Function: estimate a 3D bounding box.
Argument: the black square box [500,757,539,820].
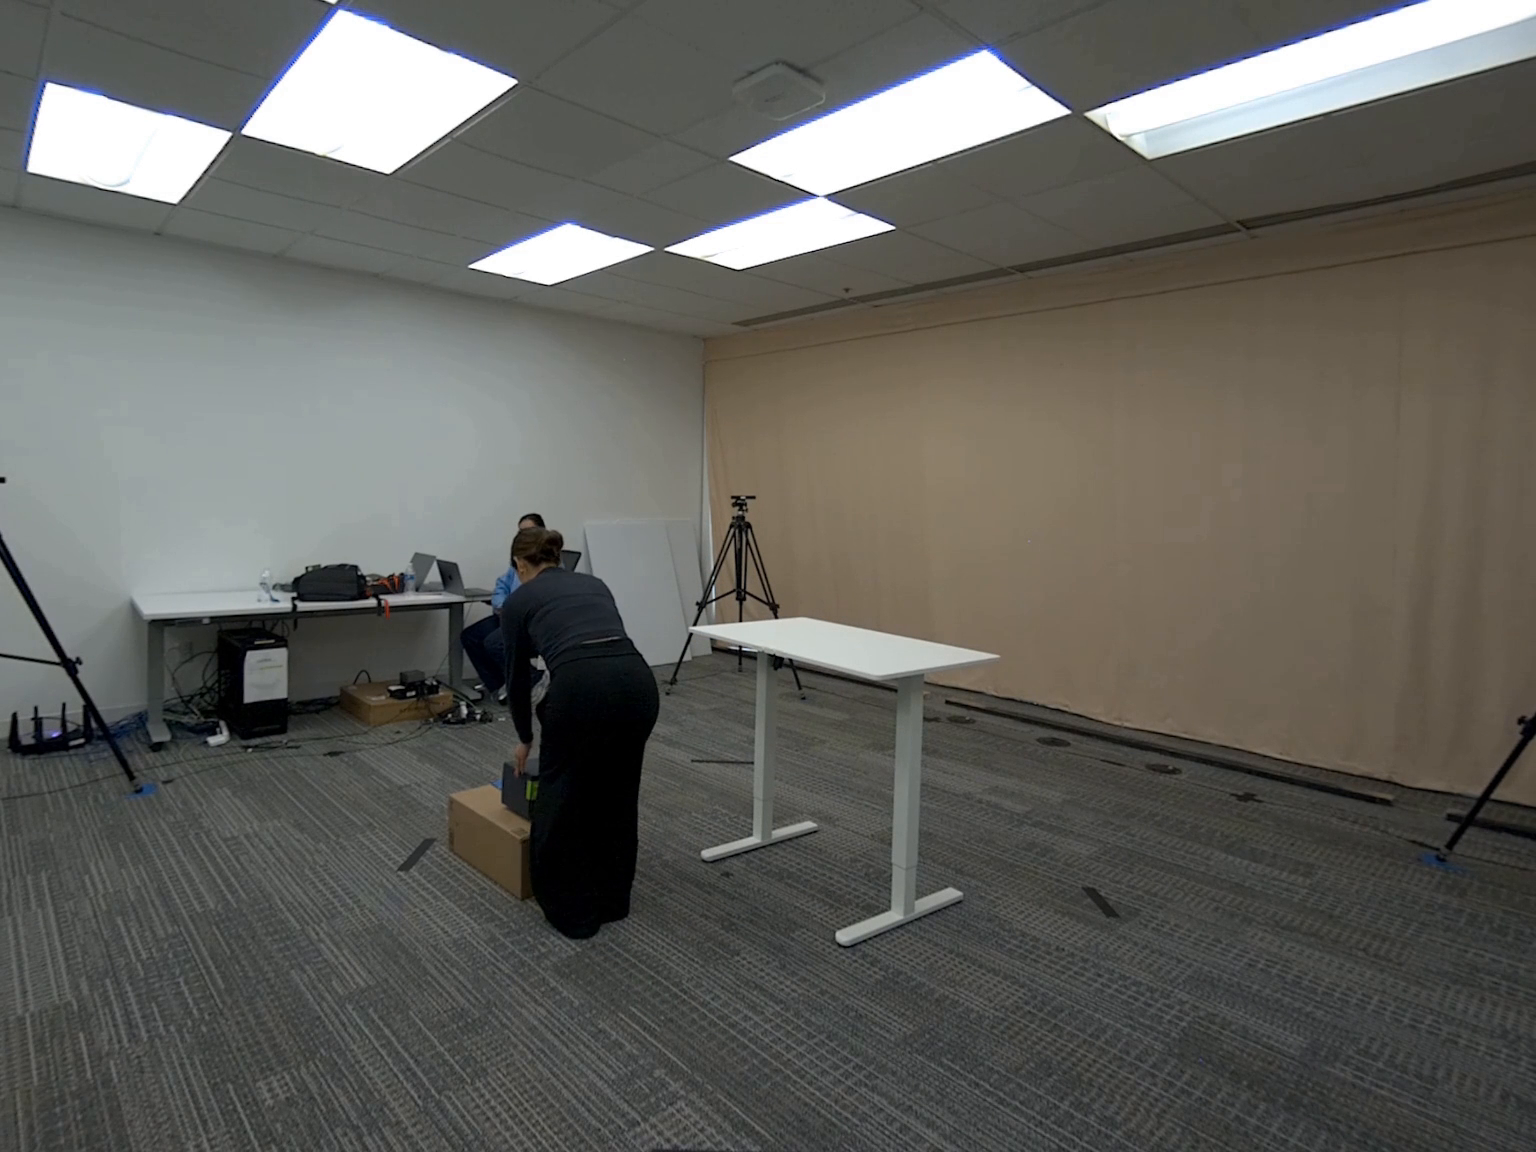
[{"bbox_3d":[-0.838,0.781,3.130,0.222,0.156,0.222,3,2,-44],"label":"black square box"}]
